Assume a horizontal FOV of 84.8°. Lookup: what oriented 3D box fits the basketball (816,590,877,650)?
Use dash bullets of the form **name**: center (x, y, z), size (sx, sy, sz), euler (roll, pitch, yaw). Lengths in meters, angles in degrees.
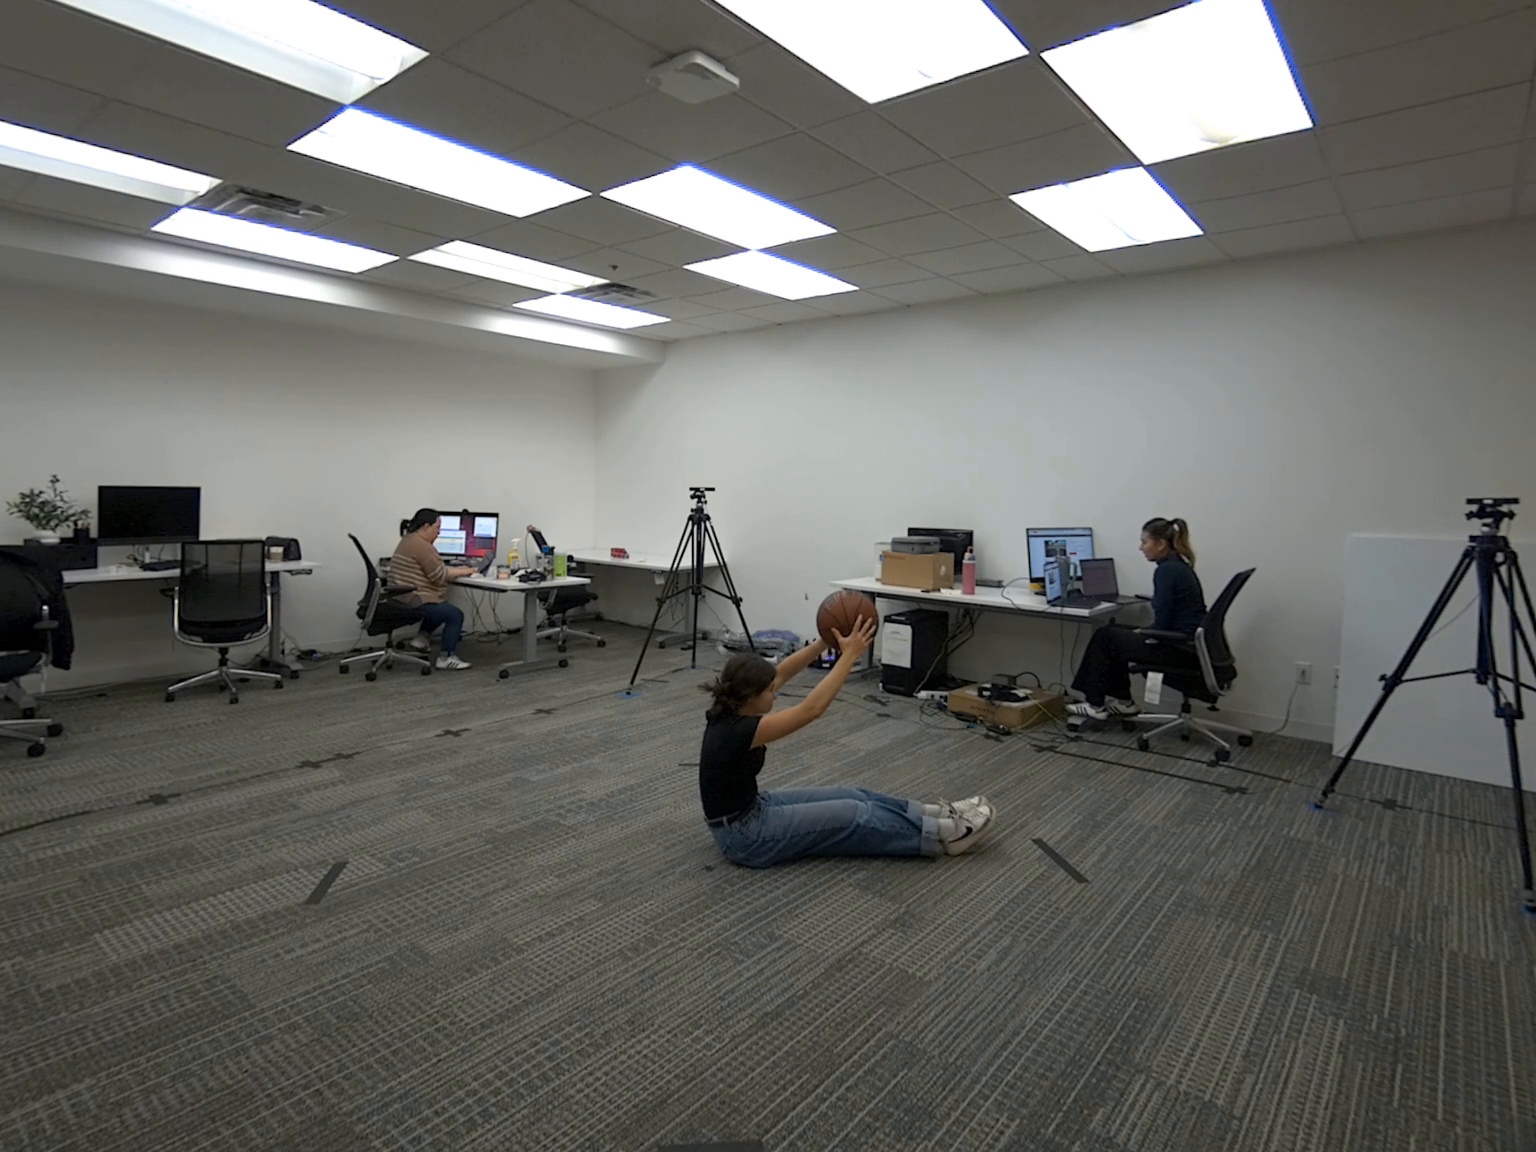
- **basketball**: center (0.294, 0.174, 3.245), size (0.235, 0.235, 0.237), euler (1, 4, -2)
